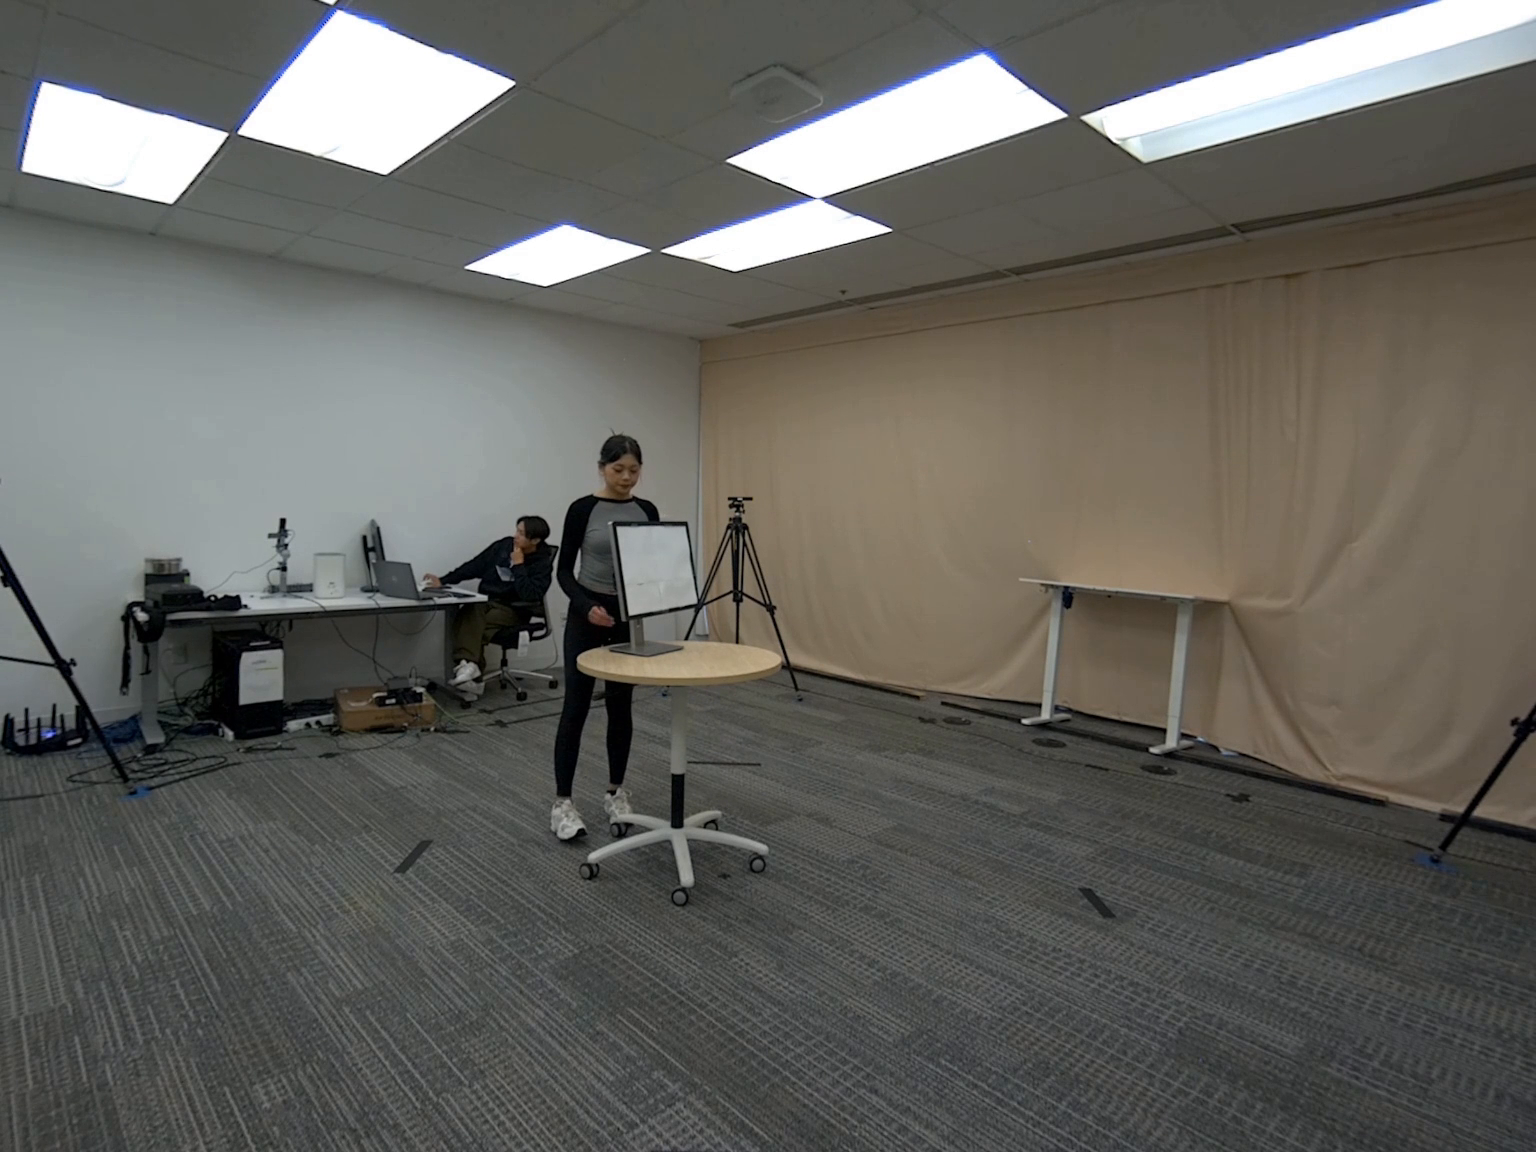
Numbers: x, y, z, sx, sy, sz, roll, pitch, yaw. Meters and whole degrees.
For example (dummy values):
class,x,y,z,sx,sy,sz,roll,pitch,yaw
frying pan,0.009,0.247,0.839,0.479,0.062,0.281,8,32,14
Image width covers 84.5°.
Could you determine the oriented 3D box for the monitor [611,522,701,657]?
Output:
class,x,y,z,sx,sy,sz,roll,pitch,yaw
monitor,-0.481,0.049,3.311,0.191,0.521,0.530,5,4,23
